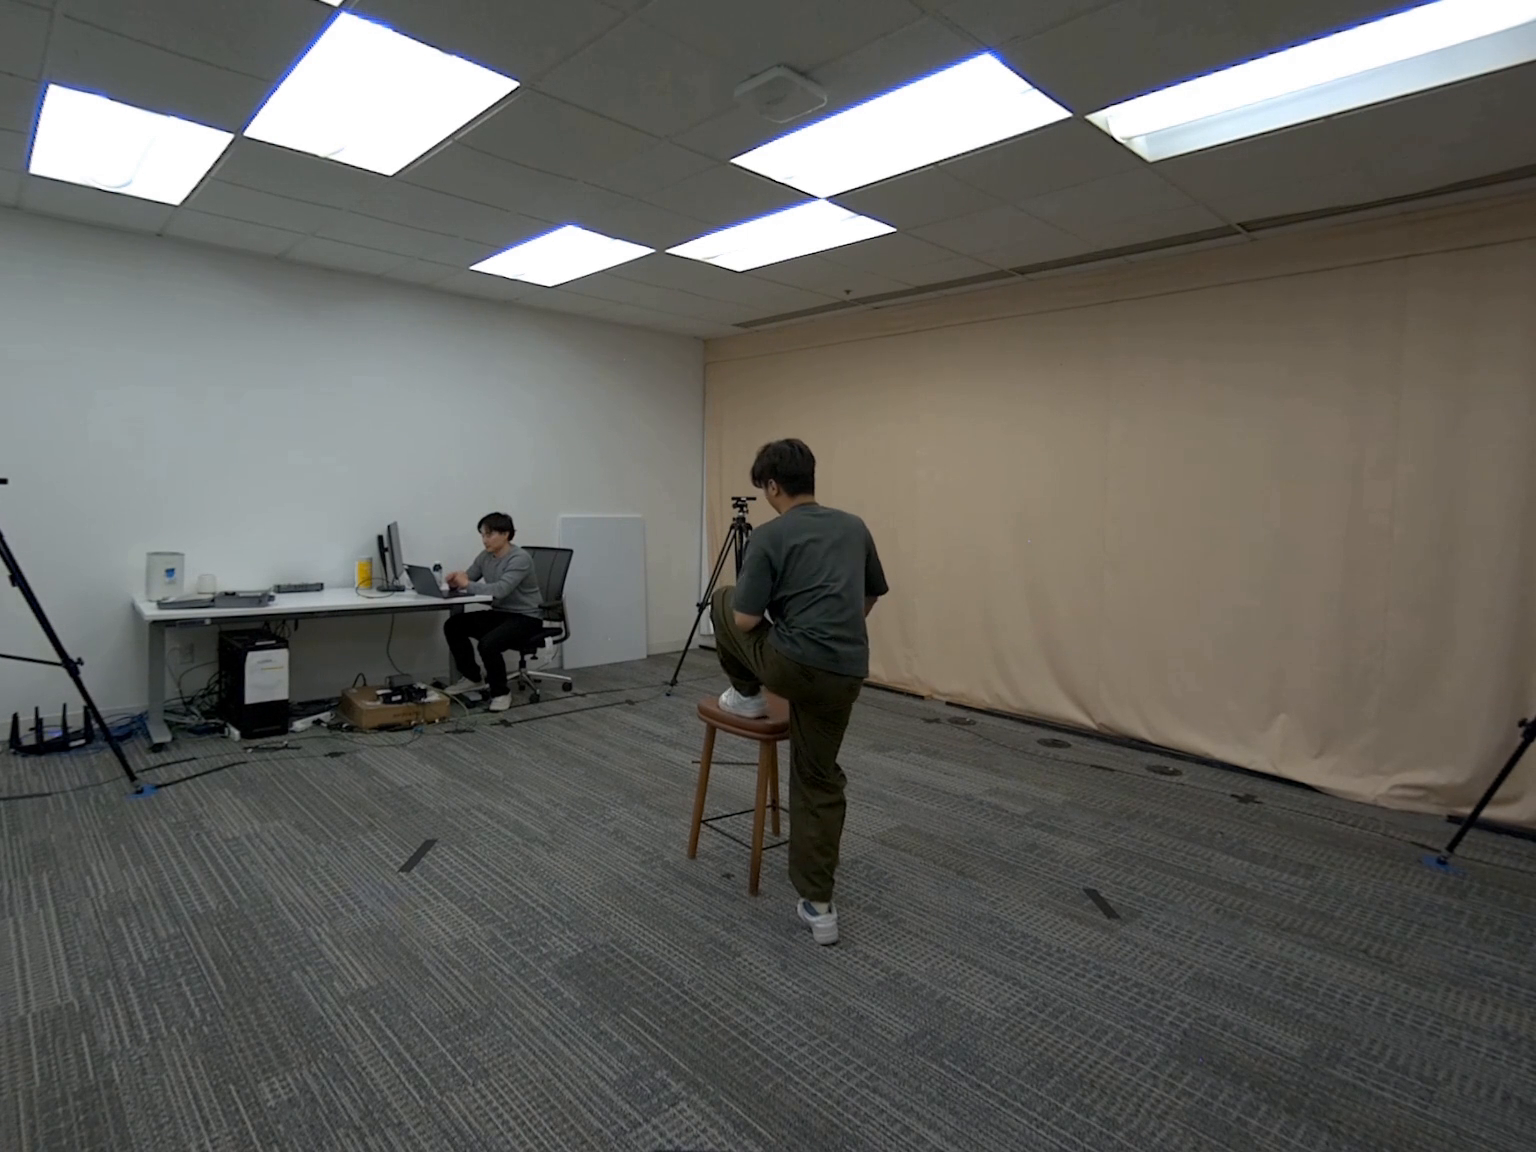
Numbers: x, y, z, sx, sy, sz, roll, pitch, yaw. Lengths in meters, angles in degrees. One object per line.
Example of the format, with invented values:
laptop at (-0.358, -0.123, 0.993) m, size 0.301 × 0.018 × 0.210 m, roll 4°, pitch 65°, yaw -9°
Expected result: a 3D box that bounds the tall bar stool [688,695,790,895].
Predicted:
tall bar stool at (-0.004, 0.664, 3.223) m, size 0.456 × 0.889 × 0.468 m, roll 1°, pitch 1°, yaw -39°
